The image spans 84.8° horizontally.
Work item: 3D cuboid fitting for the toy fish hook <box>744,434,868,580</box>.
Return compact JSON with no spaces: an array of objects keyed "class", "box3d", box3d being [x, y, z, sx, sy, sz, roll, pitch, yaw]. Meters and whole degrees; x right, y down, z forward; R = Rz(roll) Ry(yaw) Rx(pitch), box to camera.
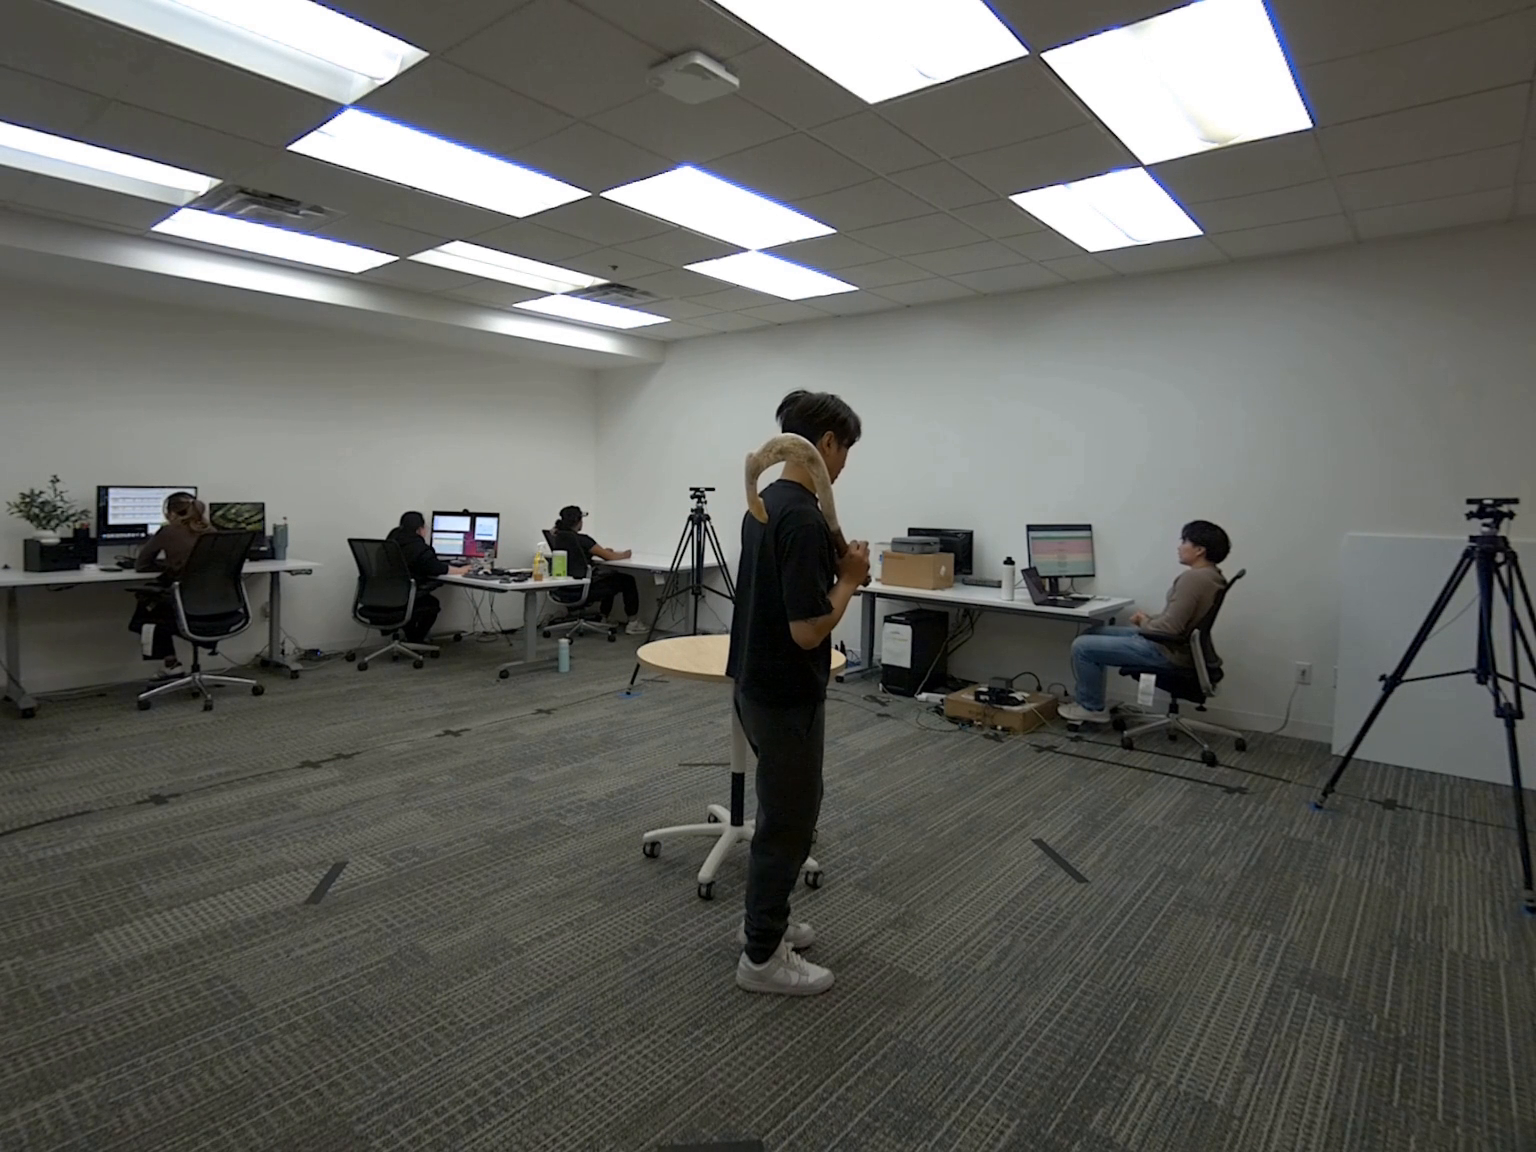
[{"class":"toy fish hook","box3d":[0.098,-0.143,2.245,0.225,0.493,0.049,-31,21,2]}]
